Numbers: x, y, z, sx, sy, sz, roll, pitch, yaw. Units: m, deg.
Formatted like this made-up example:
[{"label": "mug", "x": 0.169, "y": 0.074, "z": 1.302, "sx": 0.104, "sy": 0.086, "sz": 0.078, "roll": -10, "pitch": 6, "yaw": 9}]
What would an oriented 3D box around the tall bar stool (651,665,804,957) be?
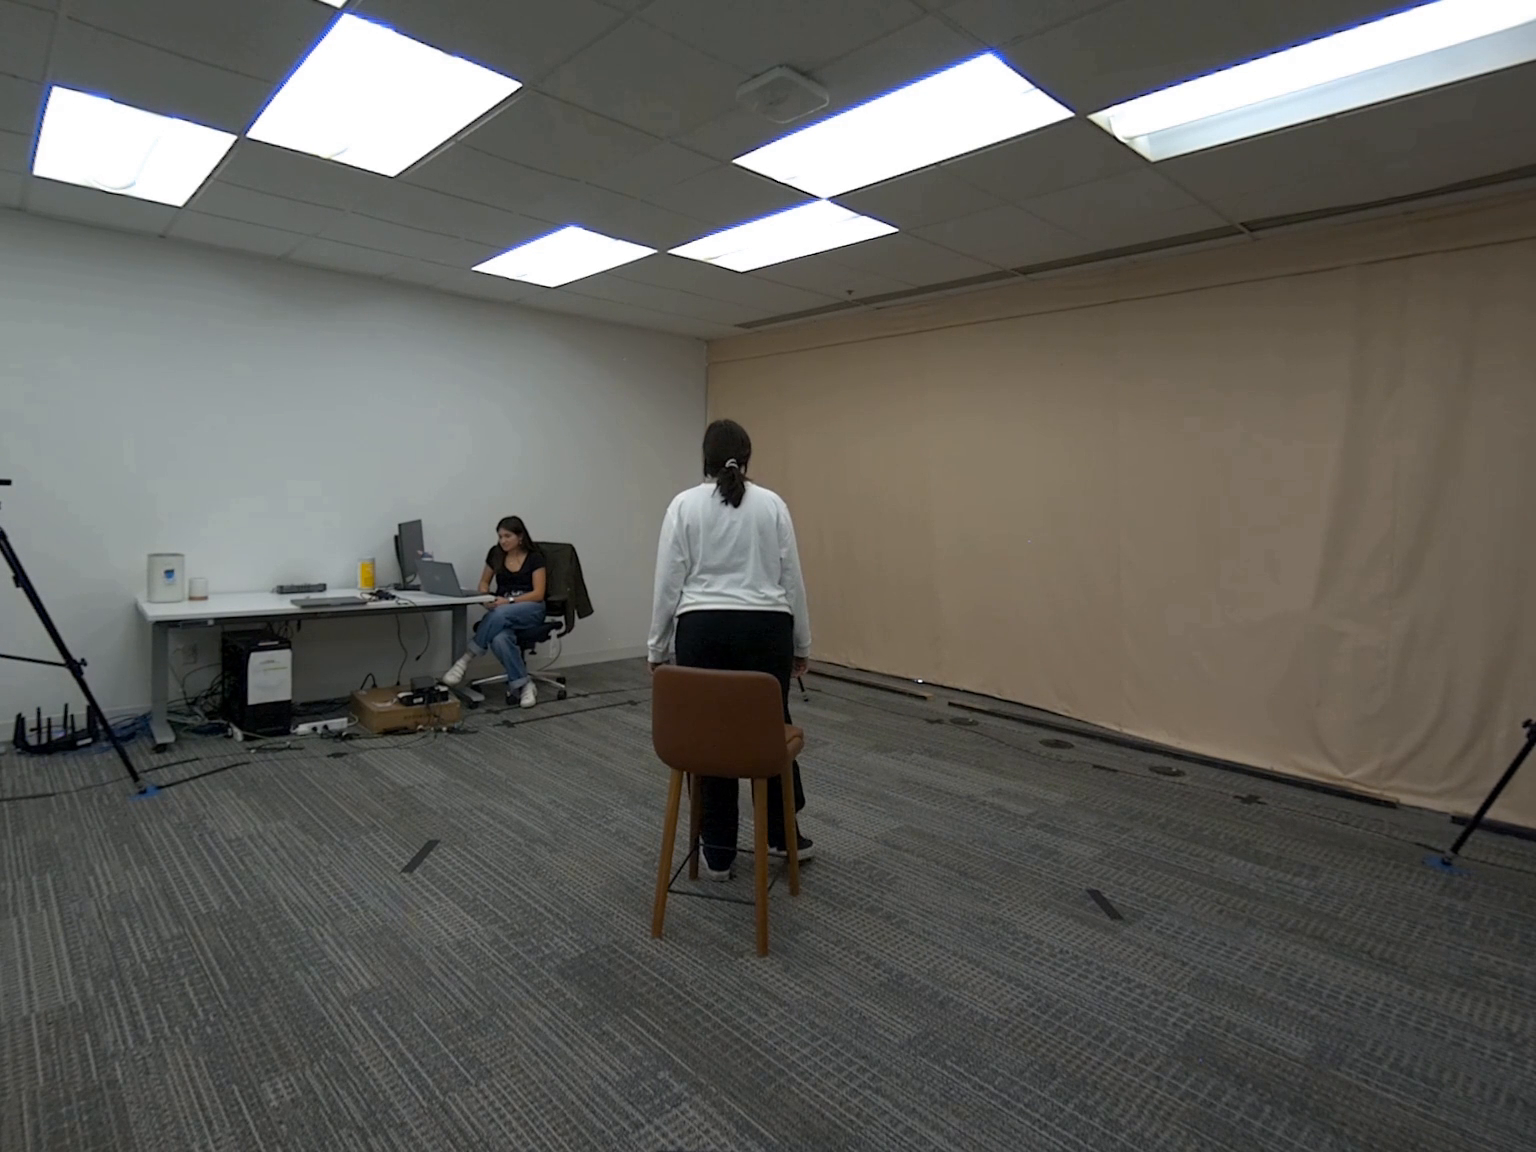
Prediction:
[{"label": "tall bar stool", "x": -0.138, "y": 0.704, "z": 2.789, "sx": 0.462, "sy": 0.886, "sz": 0.463, "roll": 2, "pitch": 5, "yaw": 15}]
